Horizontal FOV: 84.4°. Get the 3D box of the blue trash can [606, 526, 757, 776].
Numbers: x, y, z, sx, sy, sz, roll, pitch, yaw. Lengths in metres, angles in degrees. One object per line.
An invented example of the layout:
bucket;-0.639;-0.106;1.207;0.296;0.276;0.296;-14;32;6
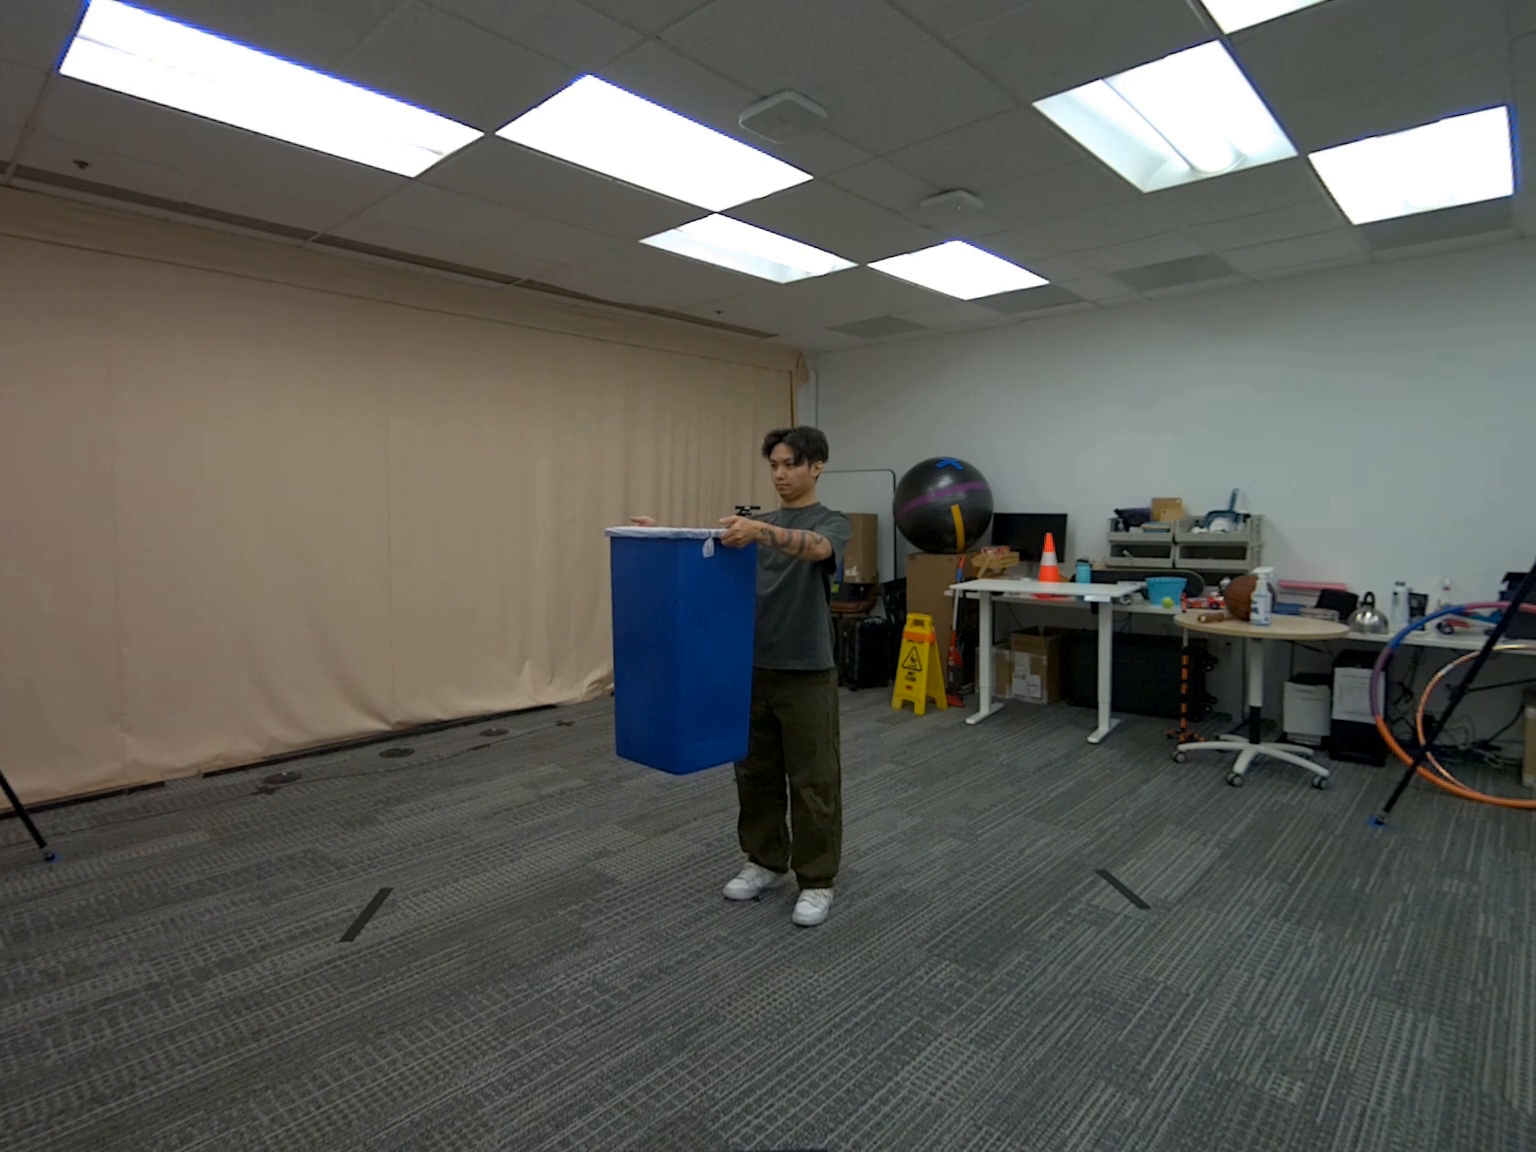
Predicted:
blue trash can;-0.265;0.214;2.621;0.390;0.713;0.362;2;2;42
